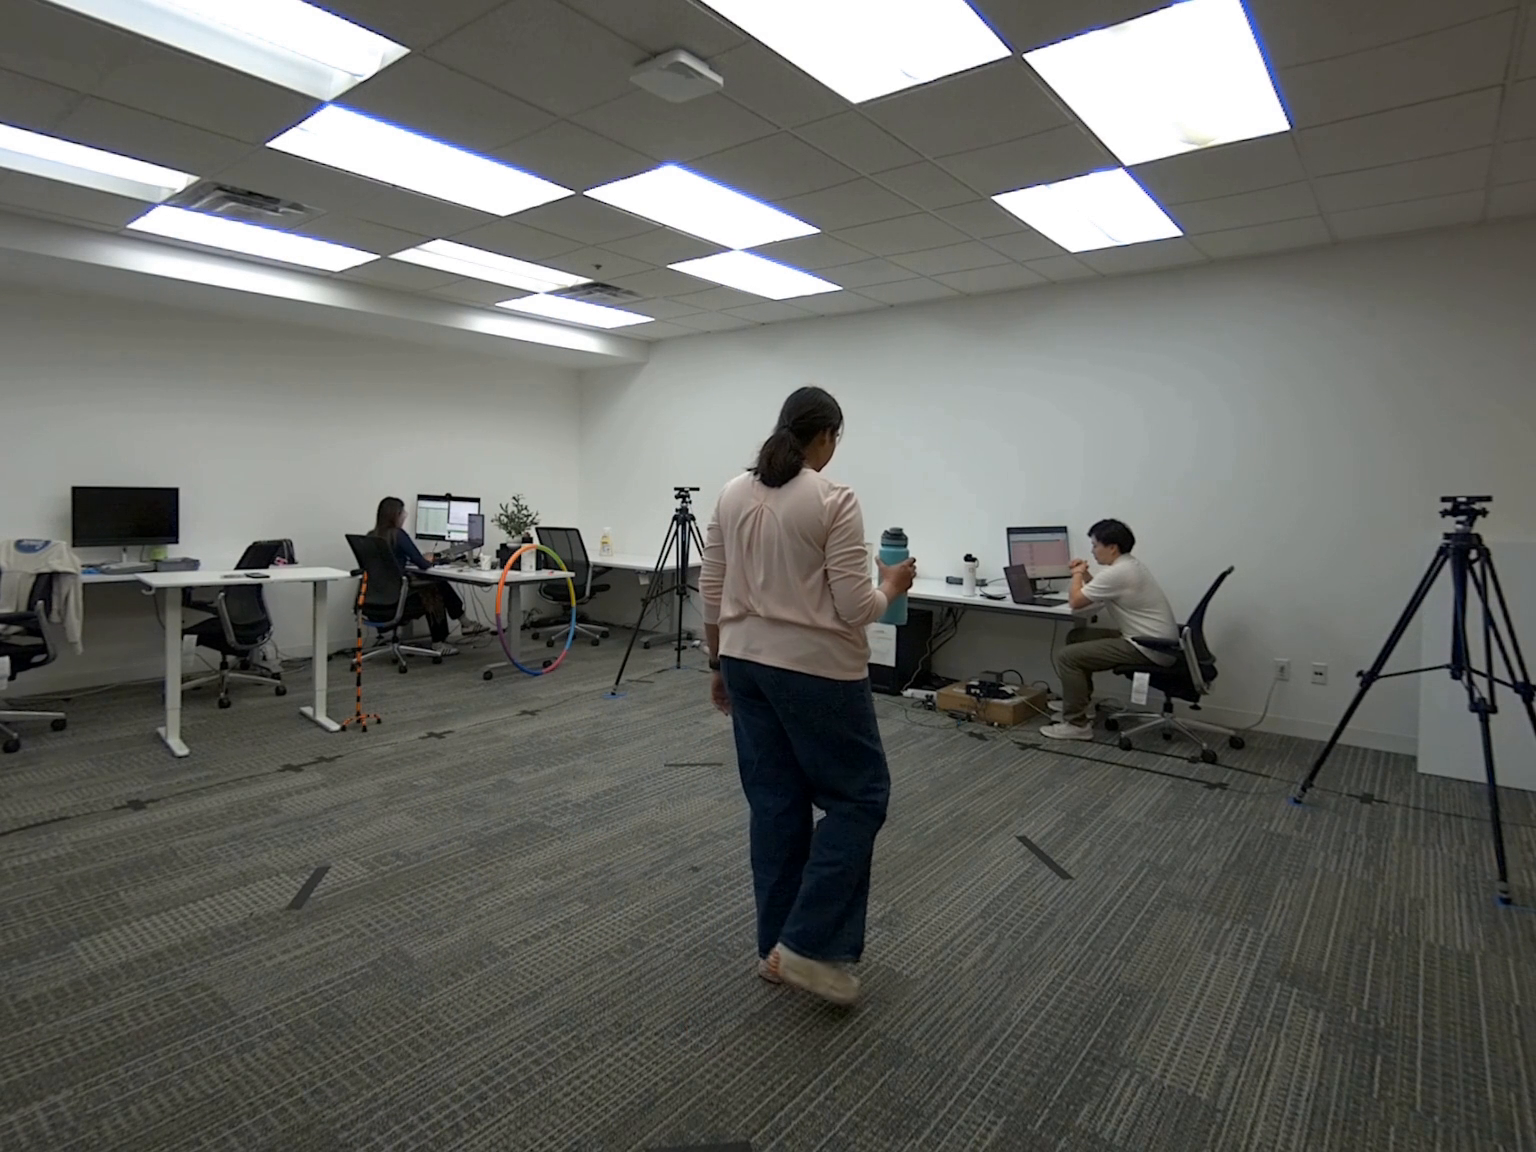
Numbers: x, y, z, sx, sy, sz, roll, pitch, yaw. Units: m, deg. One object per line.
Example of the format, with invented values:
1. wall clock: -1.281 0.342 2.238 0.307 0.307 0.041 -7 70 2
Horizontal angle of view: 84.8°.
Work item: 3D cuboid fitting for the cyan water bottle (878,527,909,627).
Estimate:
1. cyan water bottle: 0.366 -0.003 2.513 0.092 0.282 0.093 1 3 -2
